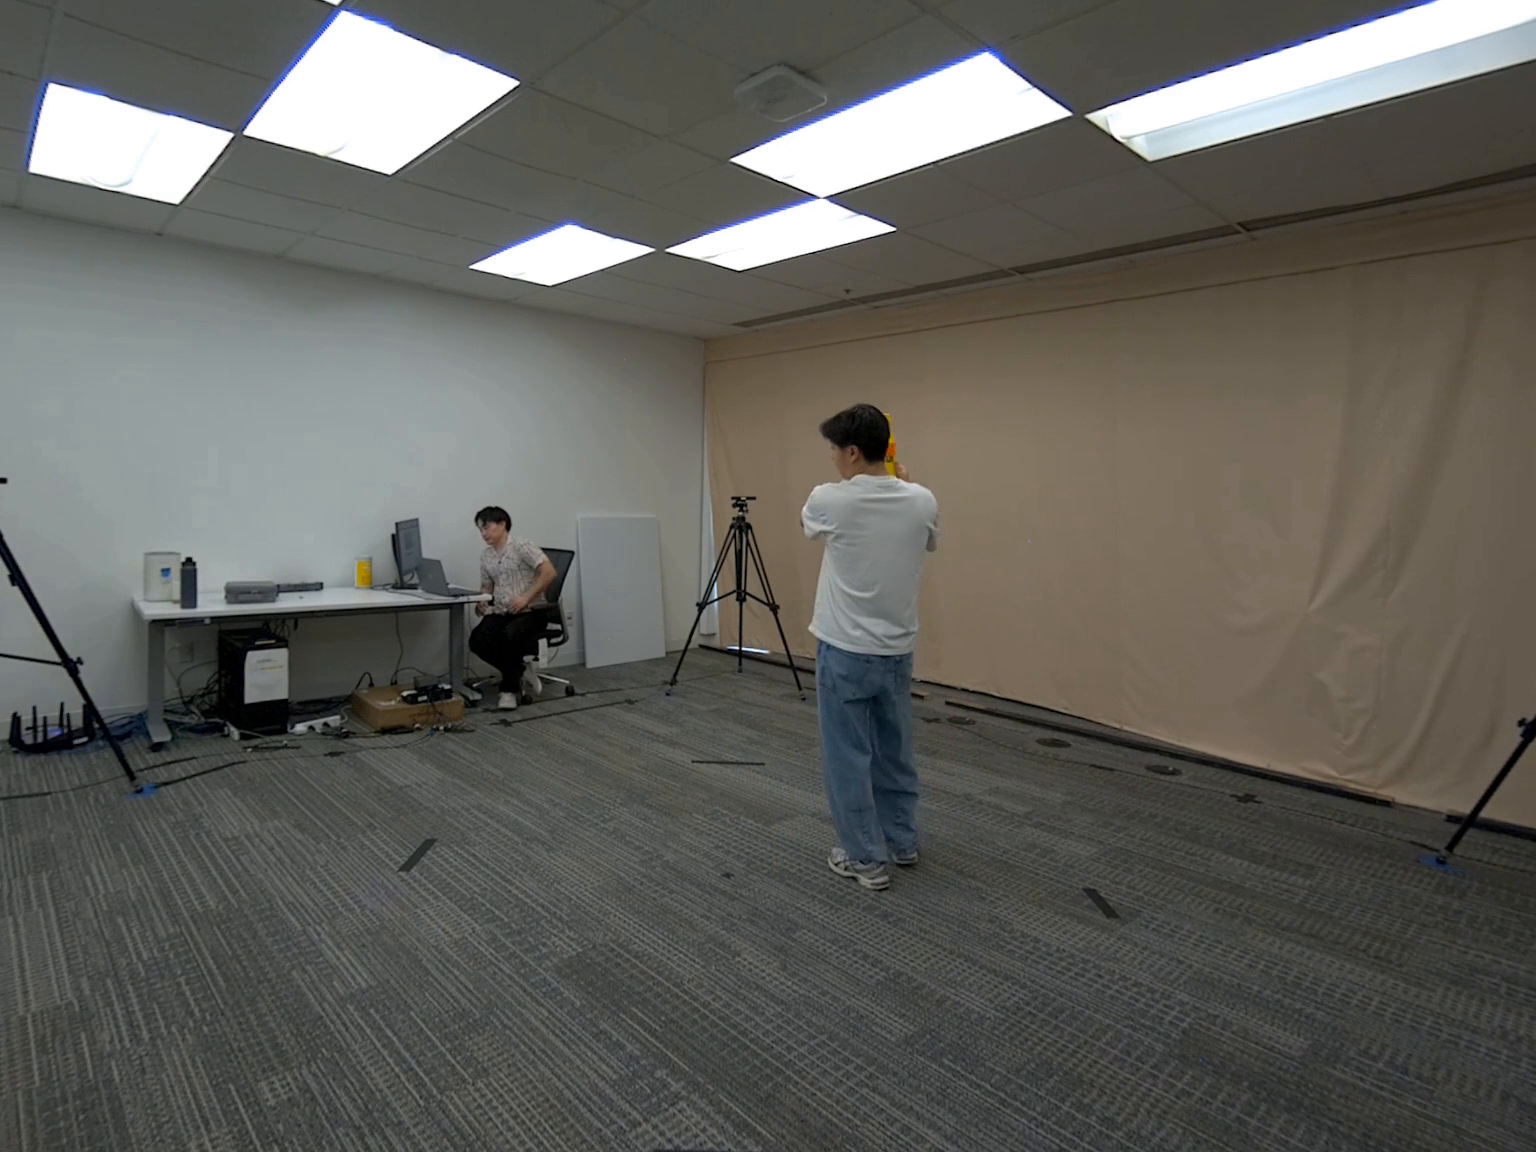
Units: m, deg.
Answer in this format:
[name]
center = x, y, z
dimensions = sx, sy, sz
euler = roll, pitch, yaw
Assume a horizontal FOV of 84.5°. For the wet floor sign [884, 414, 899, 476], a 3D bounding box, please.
[wet floor sign]
center = 0.413, -0.311, 3.326
dimensions = 0.297, 0.641, 0.277
euler = 9, 12, 37
